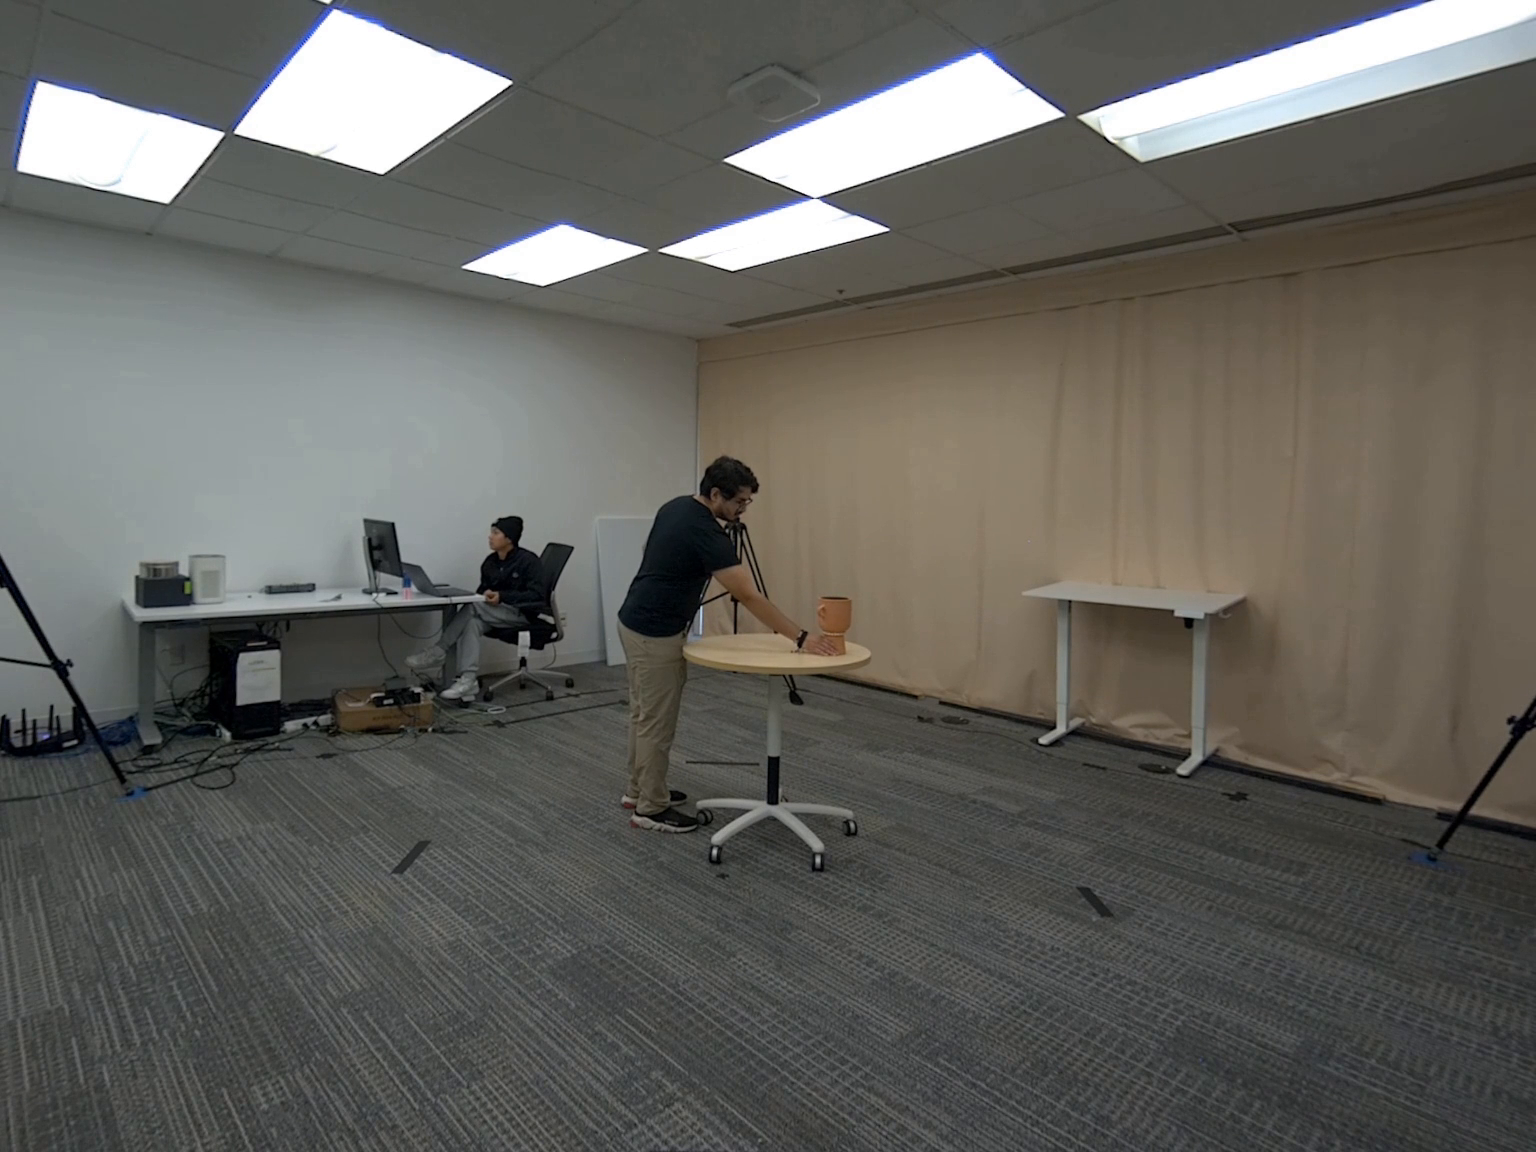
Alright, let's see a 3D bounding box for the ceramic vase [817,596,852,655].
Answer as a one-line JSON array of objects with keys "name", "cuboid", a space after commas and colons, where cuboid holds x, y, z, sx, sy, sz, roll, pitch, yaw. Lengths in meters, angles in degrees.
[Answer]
[{"name": "ceramic vase", "cuboid": [0.256, 0.201, 3.372, 0.158, 0.219, 0.135, 2, 3, -4]}]
